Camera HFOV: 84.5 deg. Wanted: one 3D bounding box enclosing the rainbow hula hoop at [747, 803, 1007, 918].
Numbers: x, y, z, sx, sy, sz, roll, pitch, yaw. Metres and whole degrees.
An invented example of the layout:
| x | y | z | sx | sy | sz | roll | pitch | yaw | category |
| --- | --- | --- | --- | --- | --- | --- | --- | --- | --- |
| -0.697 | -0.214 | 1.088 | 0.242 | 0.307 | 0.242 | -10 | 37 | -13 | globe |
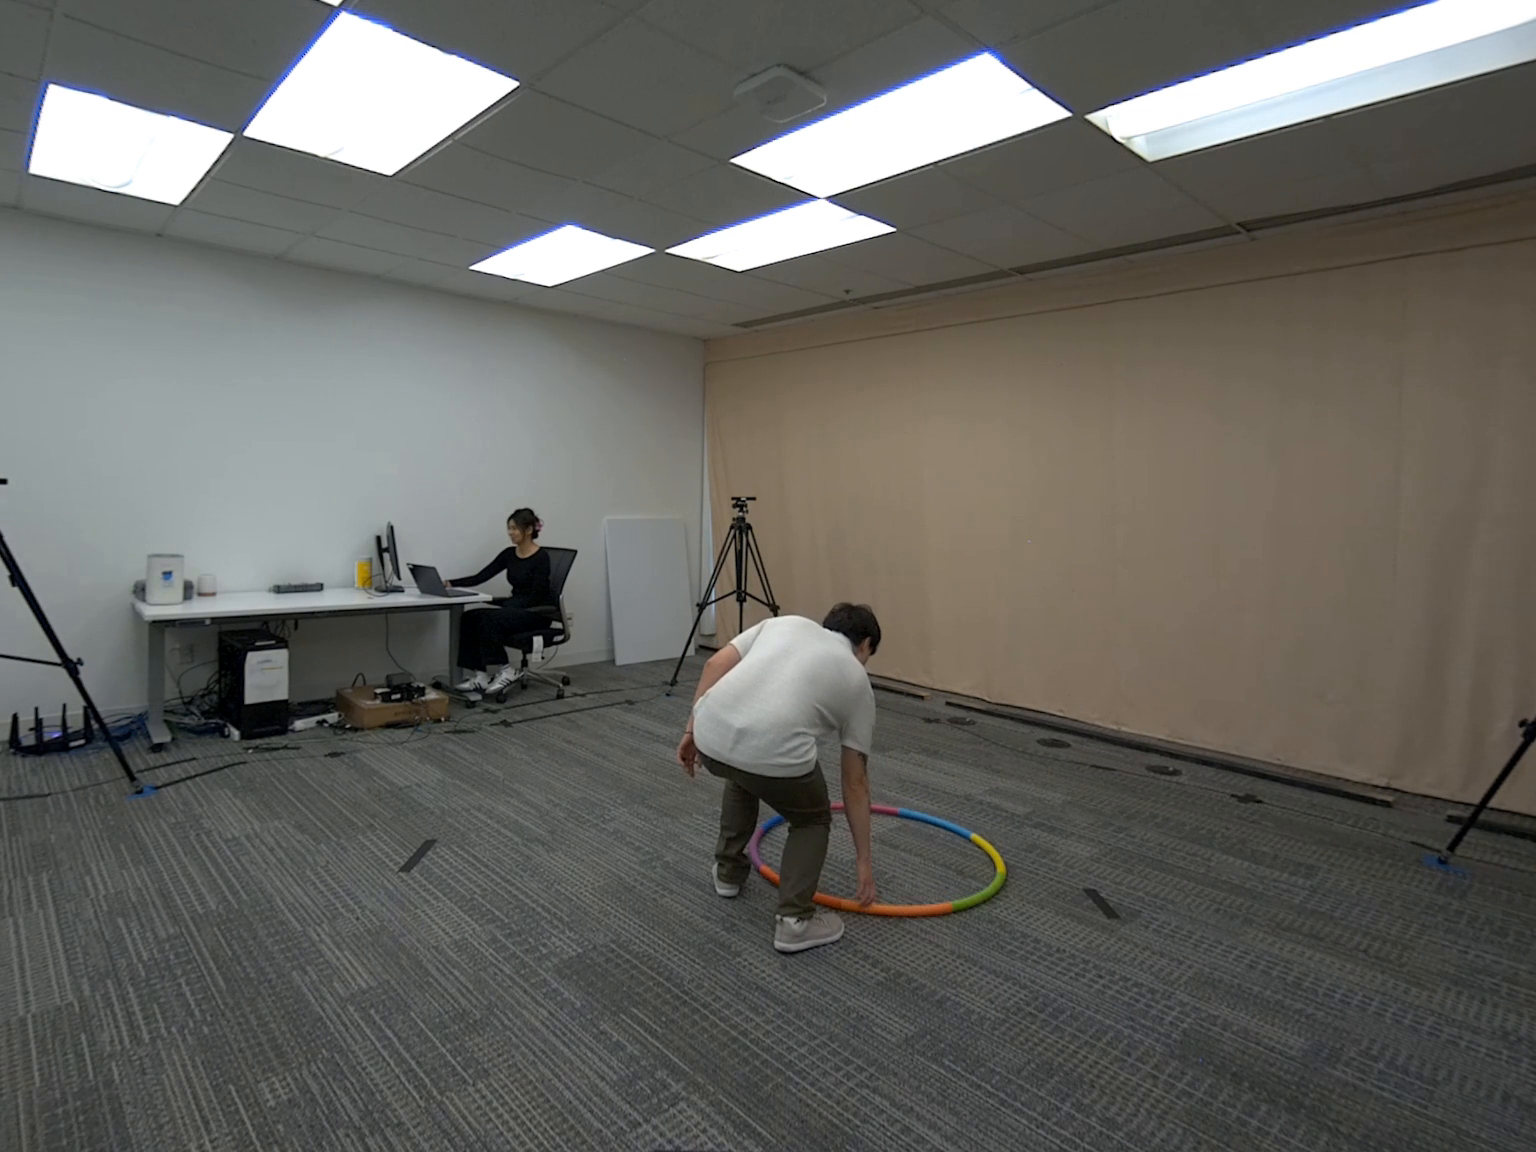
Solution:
| x | y | z | sx | sy | sz | roll | pitch | yaw | category |
| --- | --- | --- | --- | --- | --- | --- | --- | --- | --- |
| 0.406 | 1.065 | 3.304 | 0.978 | 0.035 | 0.982 | 2 | 4 | -1 | rainbow hula hoop |
